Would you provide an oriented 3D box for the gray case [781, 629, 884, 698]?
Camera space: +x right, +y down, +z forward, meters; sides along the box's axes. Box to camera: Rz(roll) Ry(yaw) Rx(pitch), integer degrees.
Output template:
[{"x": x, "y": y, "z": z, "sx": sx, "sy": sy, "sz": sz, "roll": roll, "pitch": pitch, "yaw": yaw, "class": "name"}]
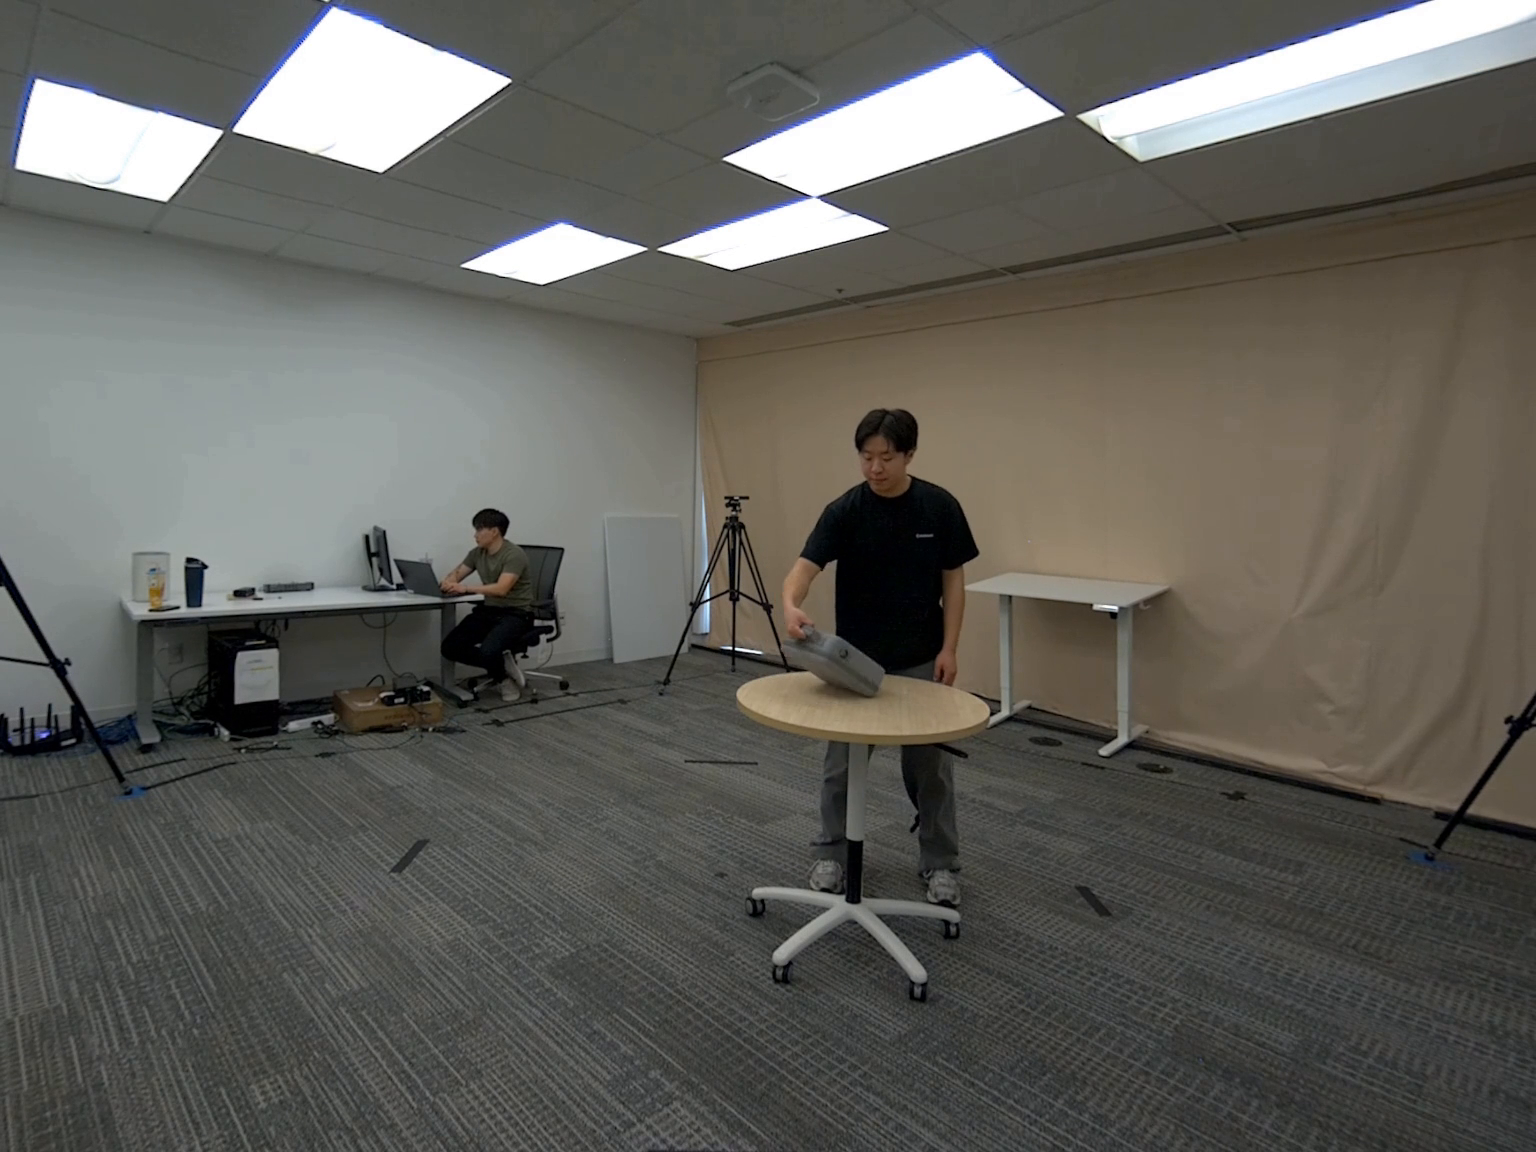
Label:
[{"x": 0.190, "y": 0.260, "z": 2.652, "sx": 0.279, "sy": 0.103, "sz": 0.269, "roll": 36, "pitch": -13, "yaw": -29, "class": "gray case"}]
